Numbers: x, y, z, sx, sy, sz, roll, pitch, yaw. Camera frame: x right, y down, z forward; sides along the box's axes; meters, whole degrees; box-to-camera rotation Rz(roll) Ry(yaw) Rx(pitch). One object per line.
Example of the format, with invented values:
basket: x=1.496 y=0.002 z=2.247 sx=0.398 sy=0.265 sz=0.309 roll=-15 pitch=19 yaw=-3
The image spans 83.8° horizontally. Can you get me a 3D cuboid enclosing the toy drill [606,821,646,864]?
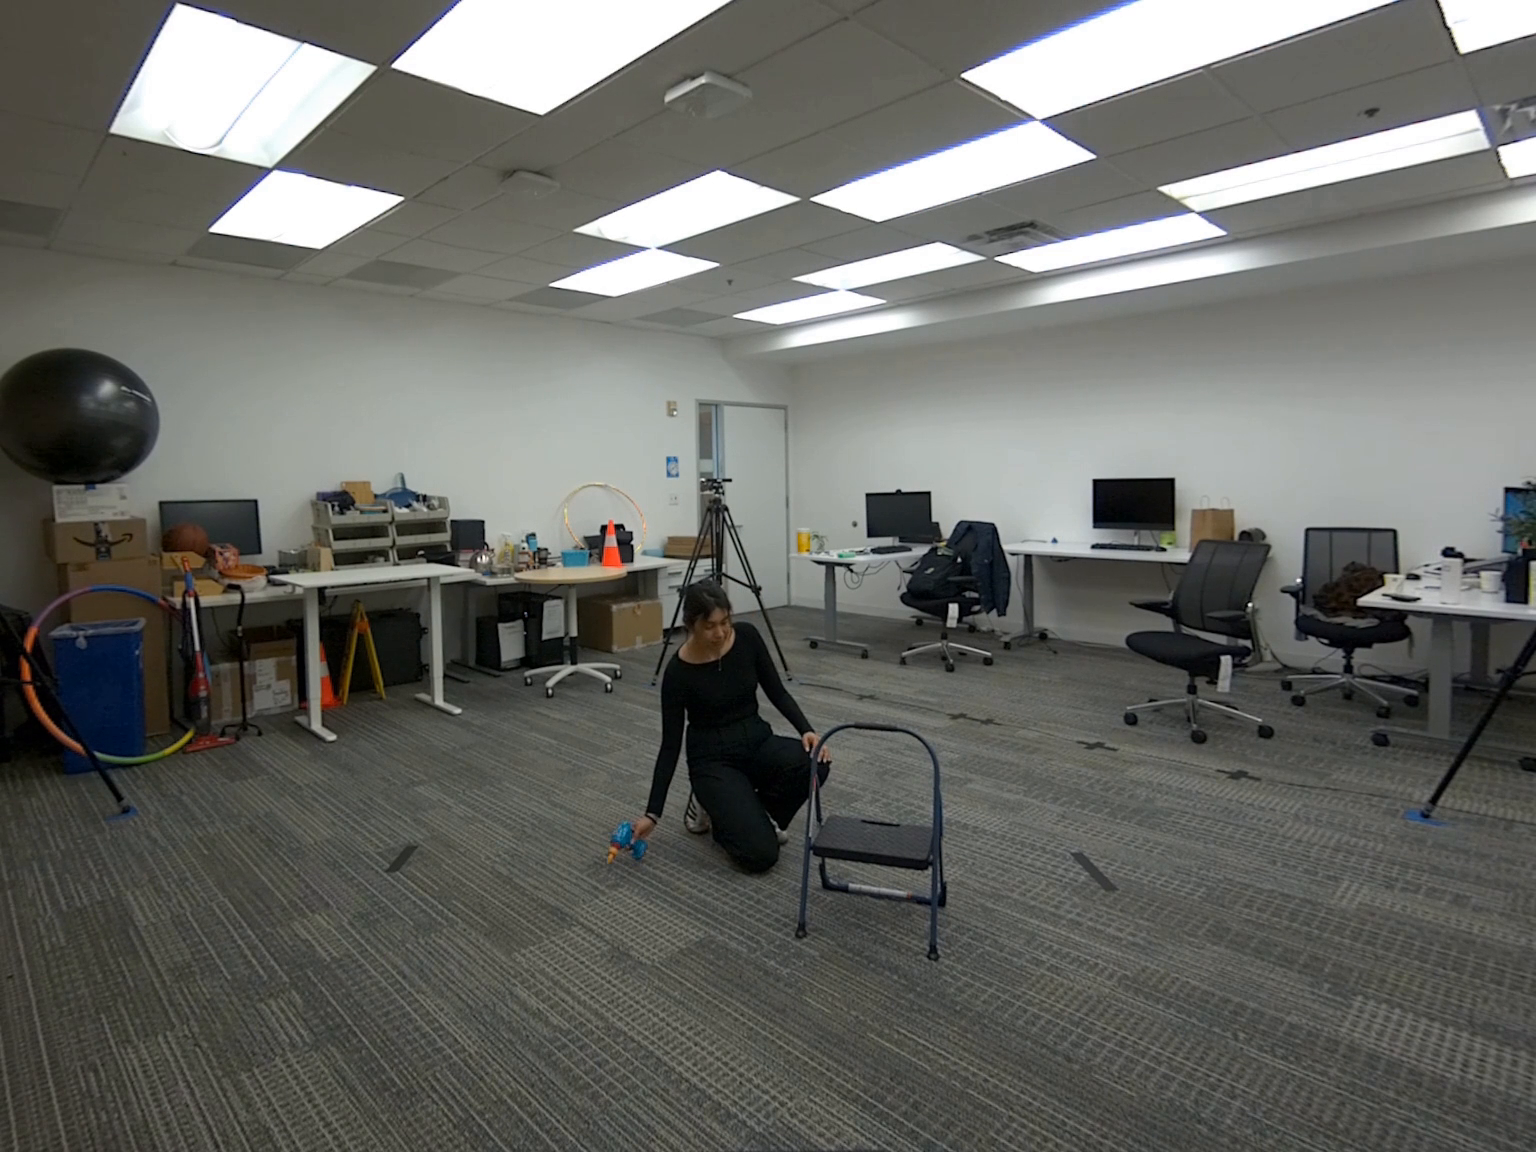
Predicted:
toy drill: x=-0.511 y=0.978 z=3.077 sx=0.062 sy=0.142 sz=0.171 roll=-19 pitch=30 yaw=36
